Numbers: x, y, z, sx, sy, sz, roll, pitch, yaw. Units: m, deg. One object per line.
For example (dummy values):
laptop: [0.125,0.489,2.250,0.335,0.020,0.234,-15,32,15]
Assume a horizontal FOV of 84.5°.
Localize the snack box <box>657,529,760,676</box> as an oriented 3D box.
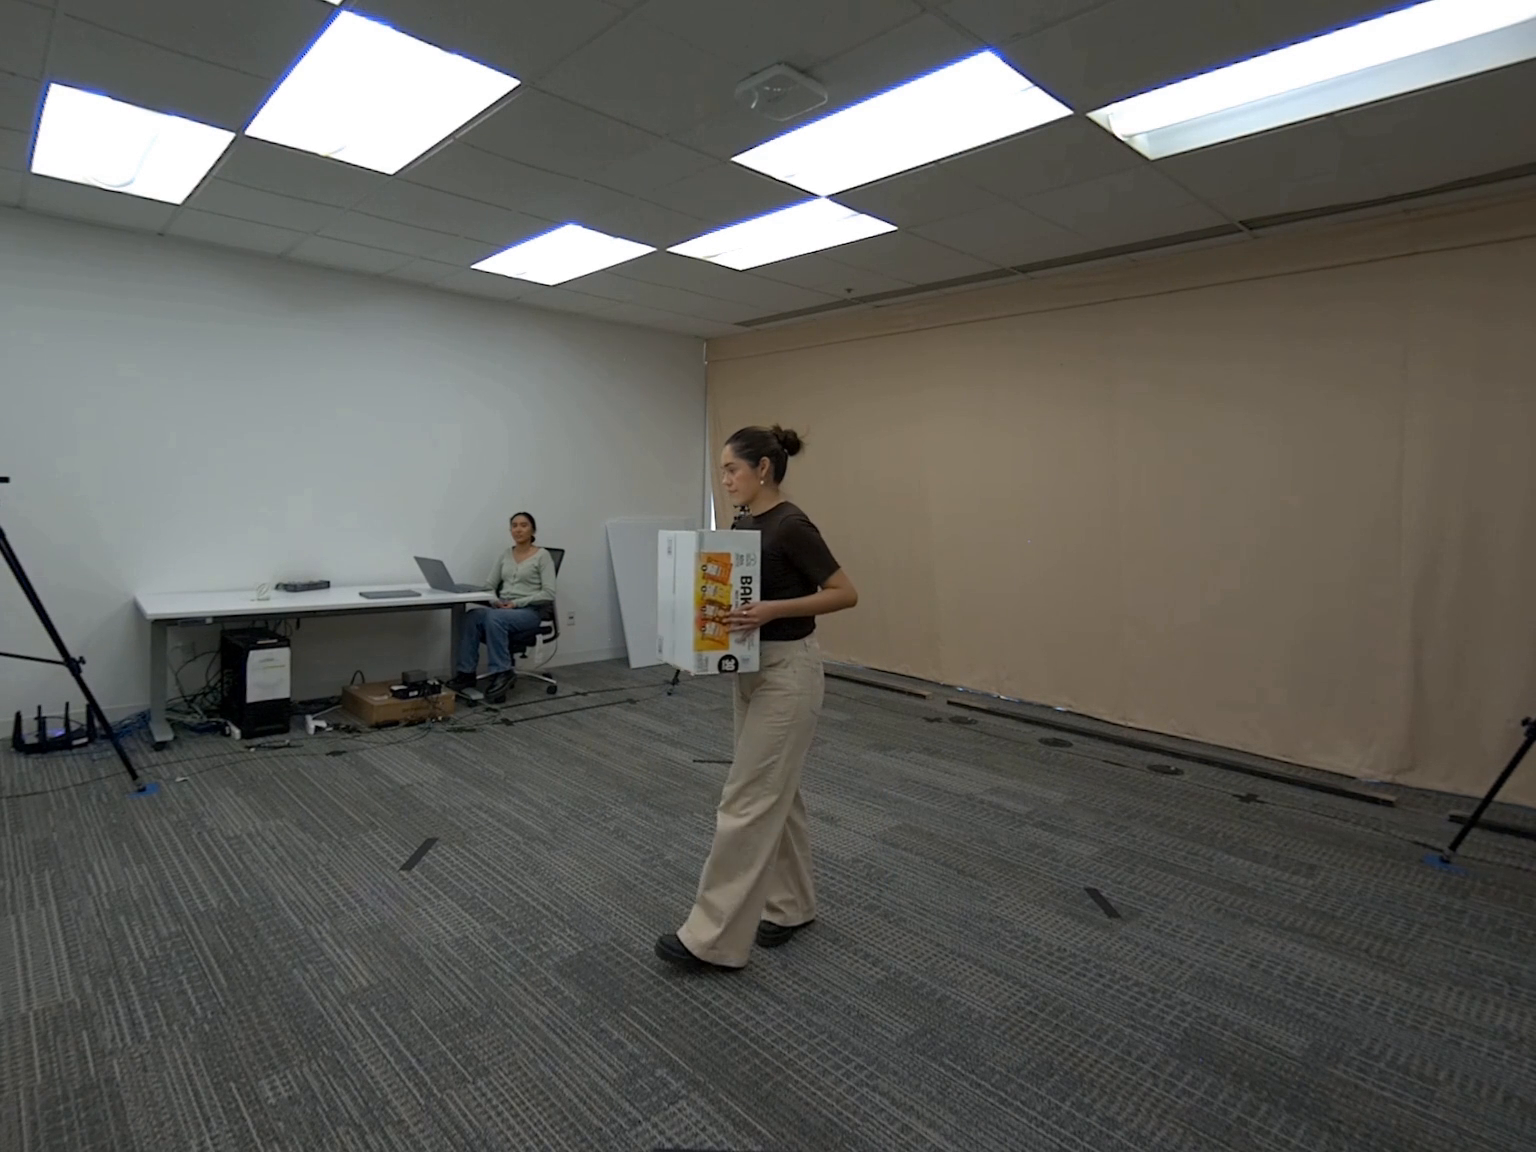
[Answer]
snack box: [-0.192,0.064,2.528,0.202,0.405,0.347,0,2,-25]
